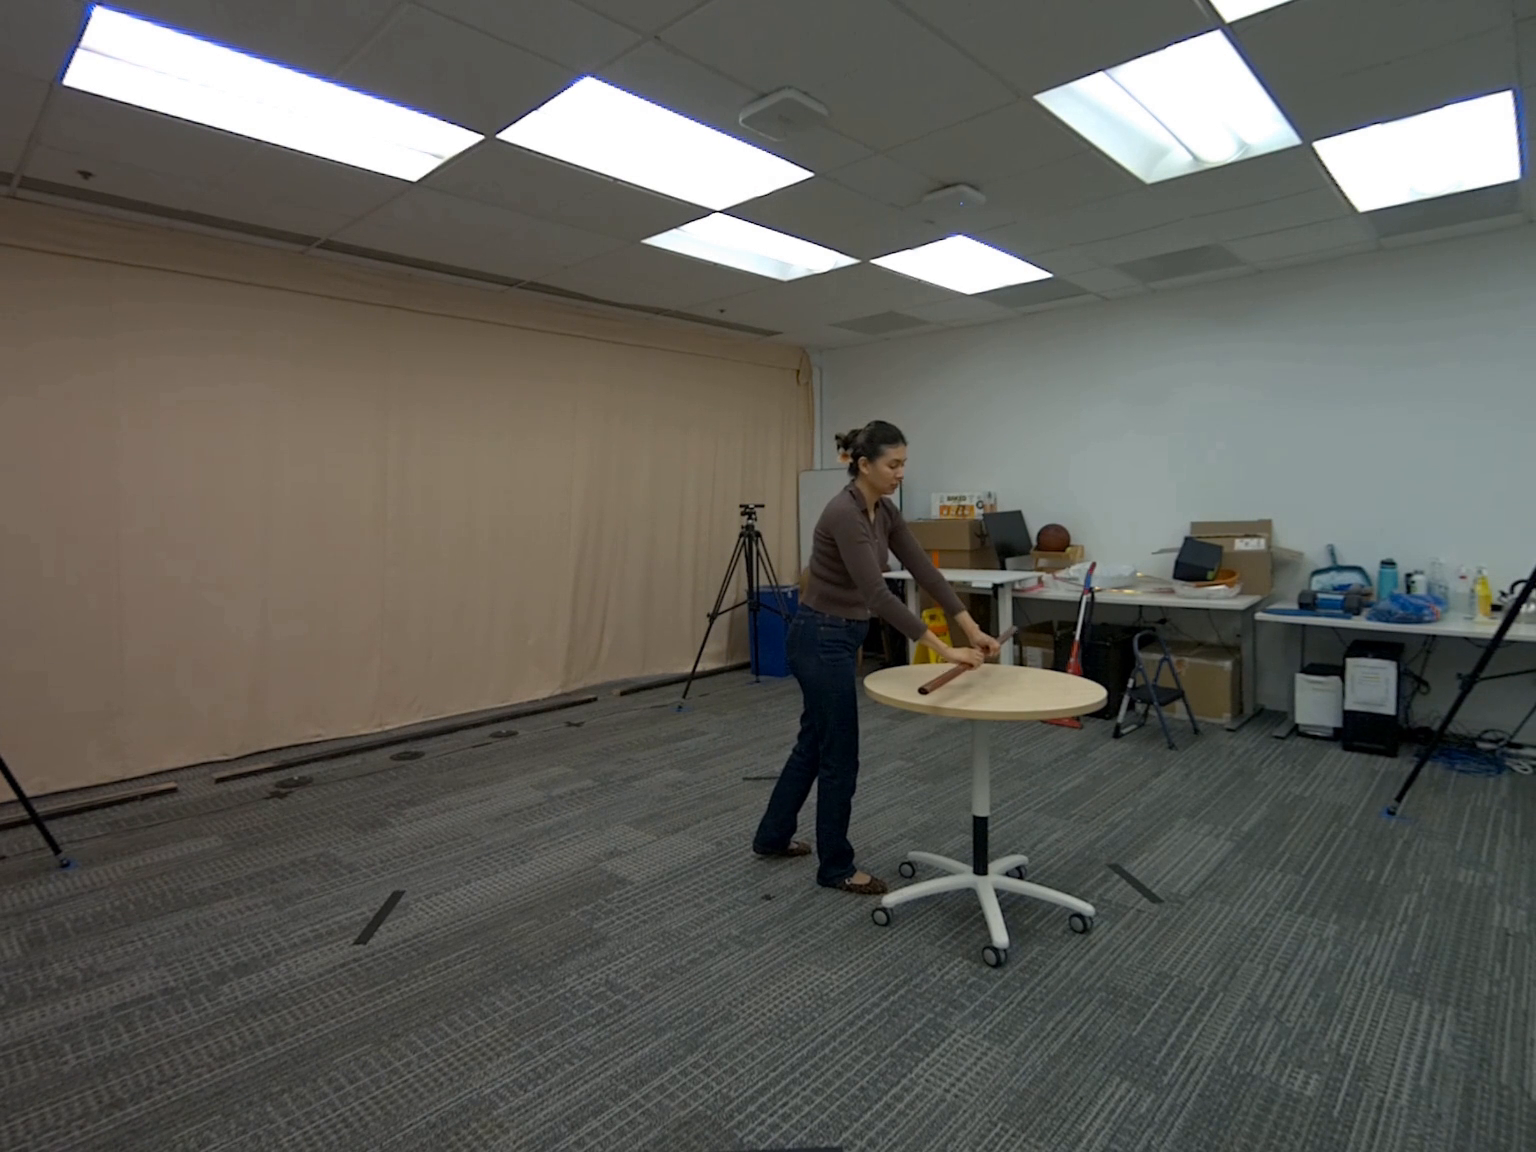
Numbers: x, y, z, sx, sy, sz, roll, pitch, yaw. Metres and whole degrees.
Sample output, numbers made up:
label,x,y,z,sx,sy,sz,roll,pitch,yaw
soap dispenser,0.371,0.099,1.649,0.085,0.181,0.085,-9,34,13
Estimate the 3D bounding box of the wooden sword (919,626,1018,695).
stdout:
label,x,y,z,sx,sy,sz,roll,pitch,yaw
wooden sword,0.696,0.281,2.802,0.024,0.051,1.000,-11,1,29
